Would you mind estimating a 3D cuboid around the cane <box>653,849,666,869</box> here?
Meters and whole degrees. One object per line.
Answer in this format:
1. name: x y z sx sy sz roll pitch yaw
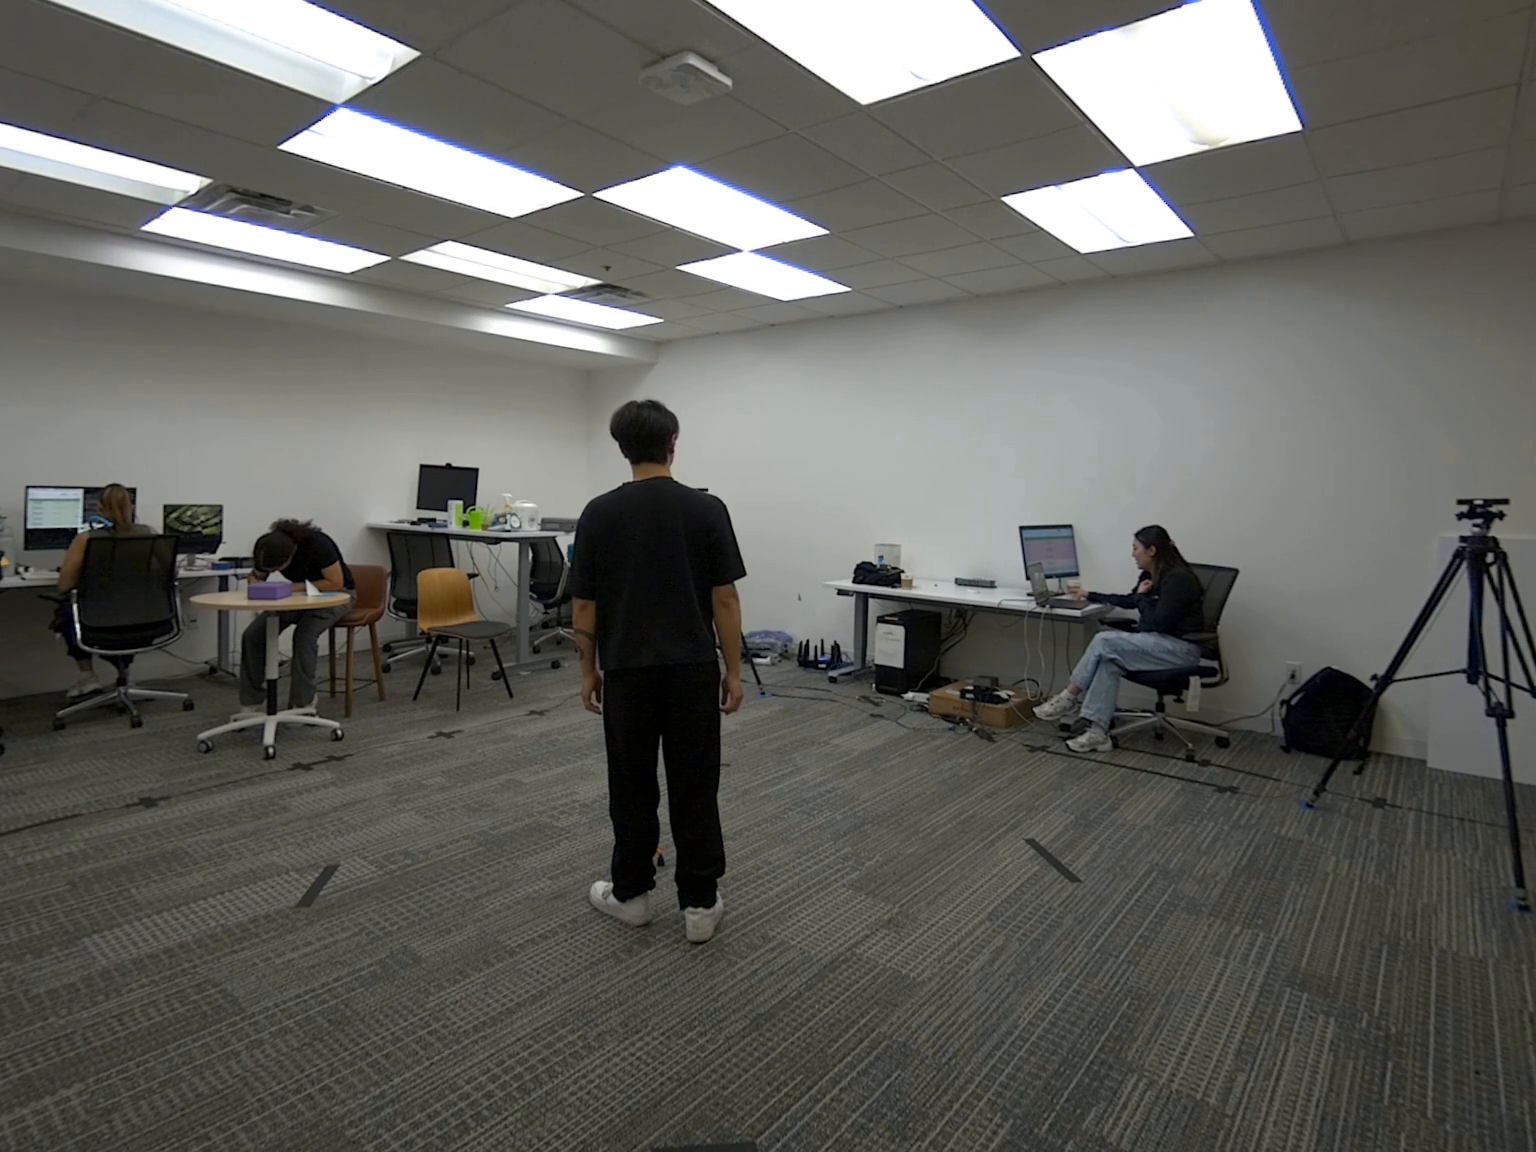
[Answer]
1. cane: -0.484 0.600 3.181 0.148 0.906 0.211 0 3 -22
